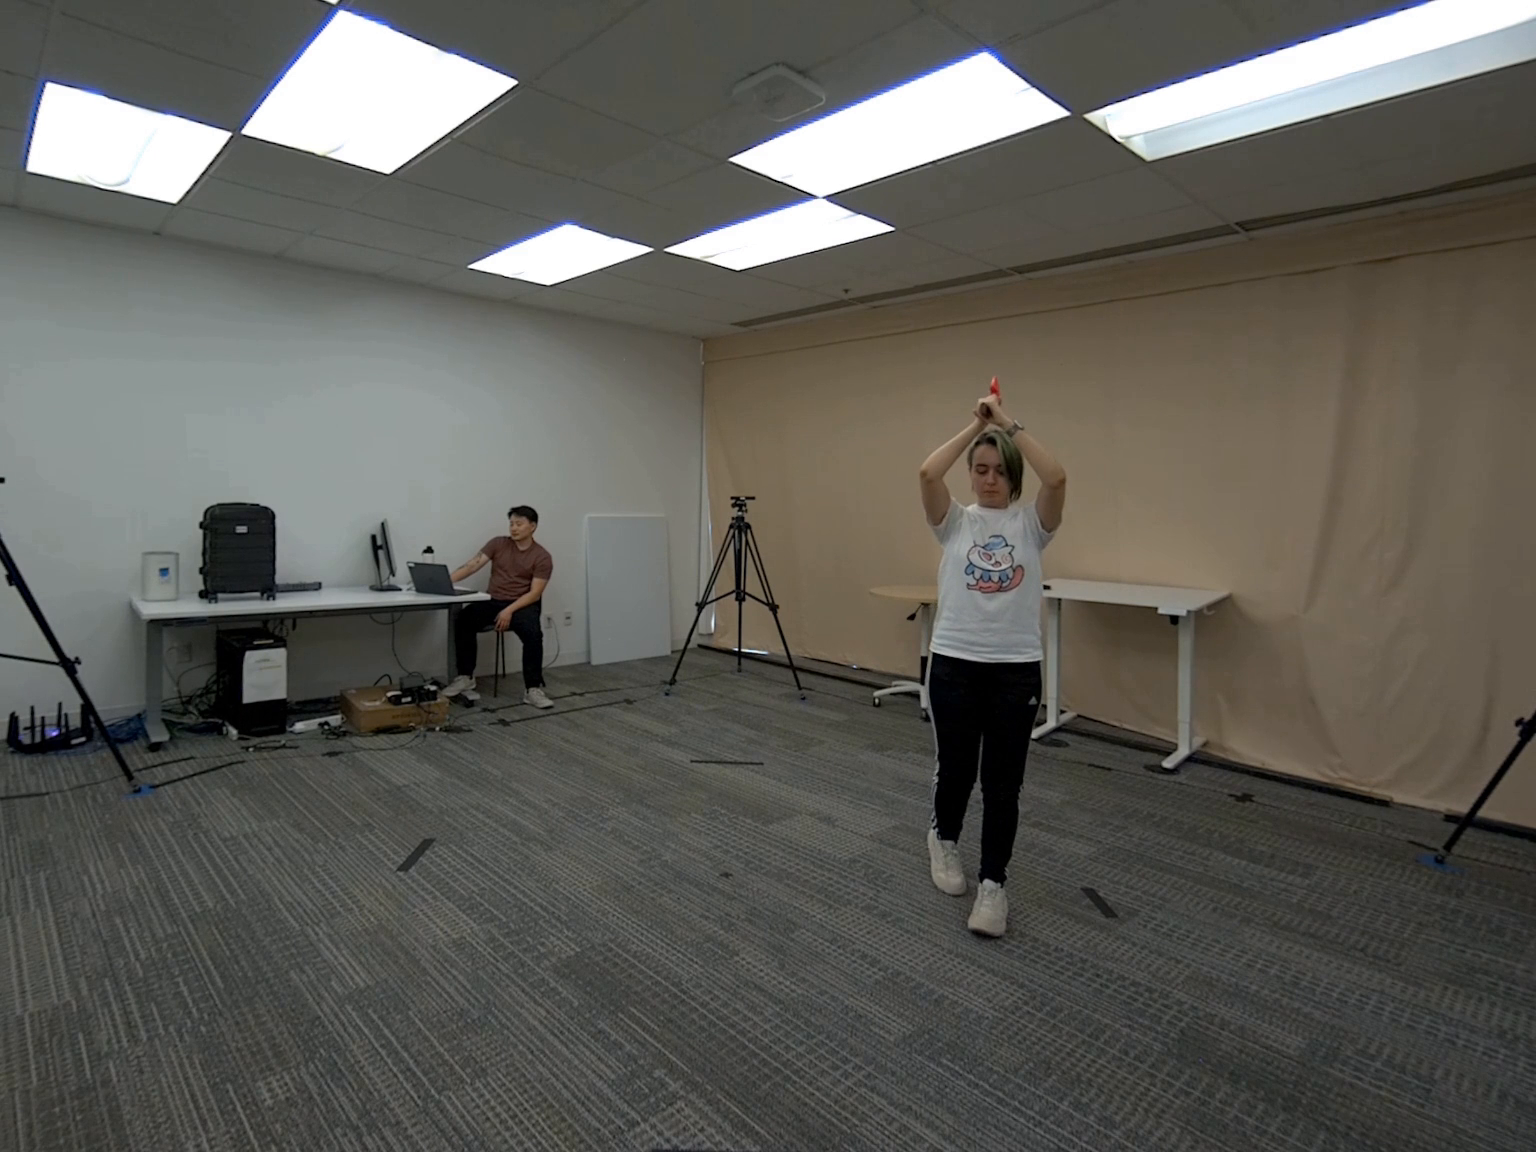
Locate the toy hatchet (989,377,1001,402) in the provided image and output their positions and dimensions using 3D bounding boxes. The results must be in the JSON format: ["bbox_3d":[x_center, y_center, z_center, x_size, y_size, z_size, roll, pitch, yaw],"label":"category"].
[{"bbox_3d":[0.722,-0.580,2.718,0.030,0.130,0.267,6,12,21],"label":"toy hatchet"}]
